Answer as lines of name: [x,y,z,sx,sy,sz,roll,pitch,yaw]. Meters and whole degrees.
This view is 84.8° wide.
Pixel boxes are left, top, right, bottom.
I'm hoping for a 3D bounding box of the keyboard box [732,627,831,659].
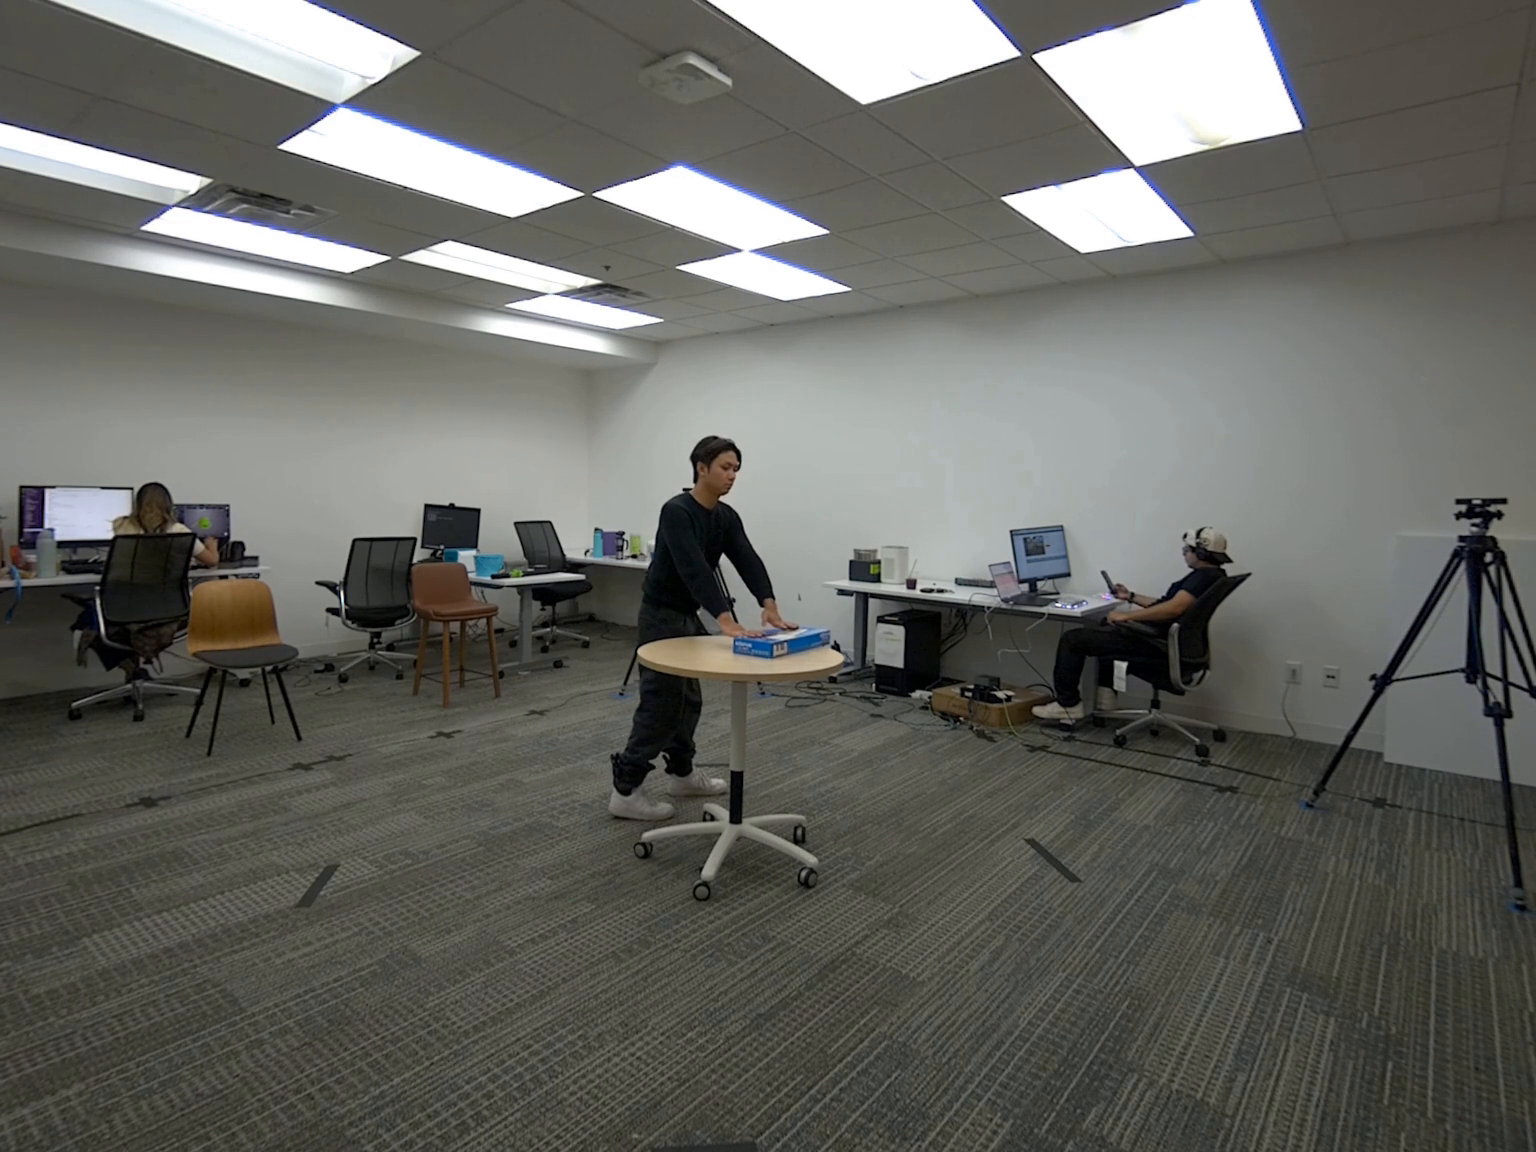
keyboard box: [0.044,0.248,3.290,0.181,0.059,0.424,4,6,34]
